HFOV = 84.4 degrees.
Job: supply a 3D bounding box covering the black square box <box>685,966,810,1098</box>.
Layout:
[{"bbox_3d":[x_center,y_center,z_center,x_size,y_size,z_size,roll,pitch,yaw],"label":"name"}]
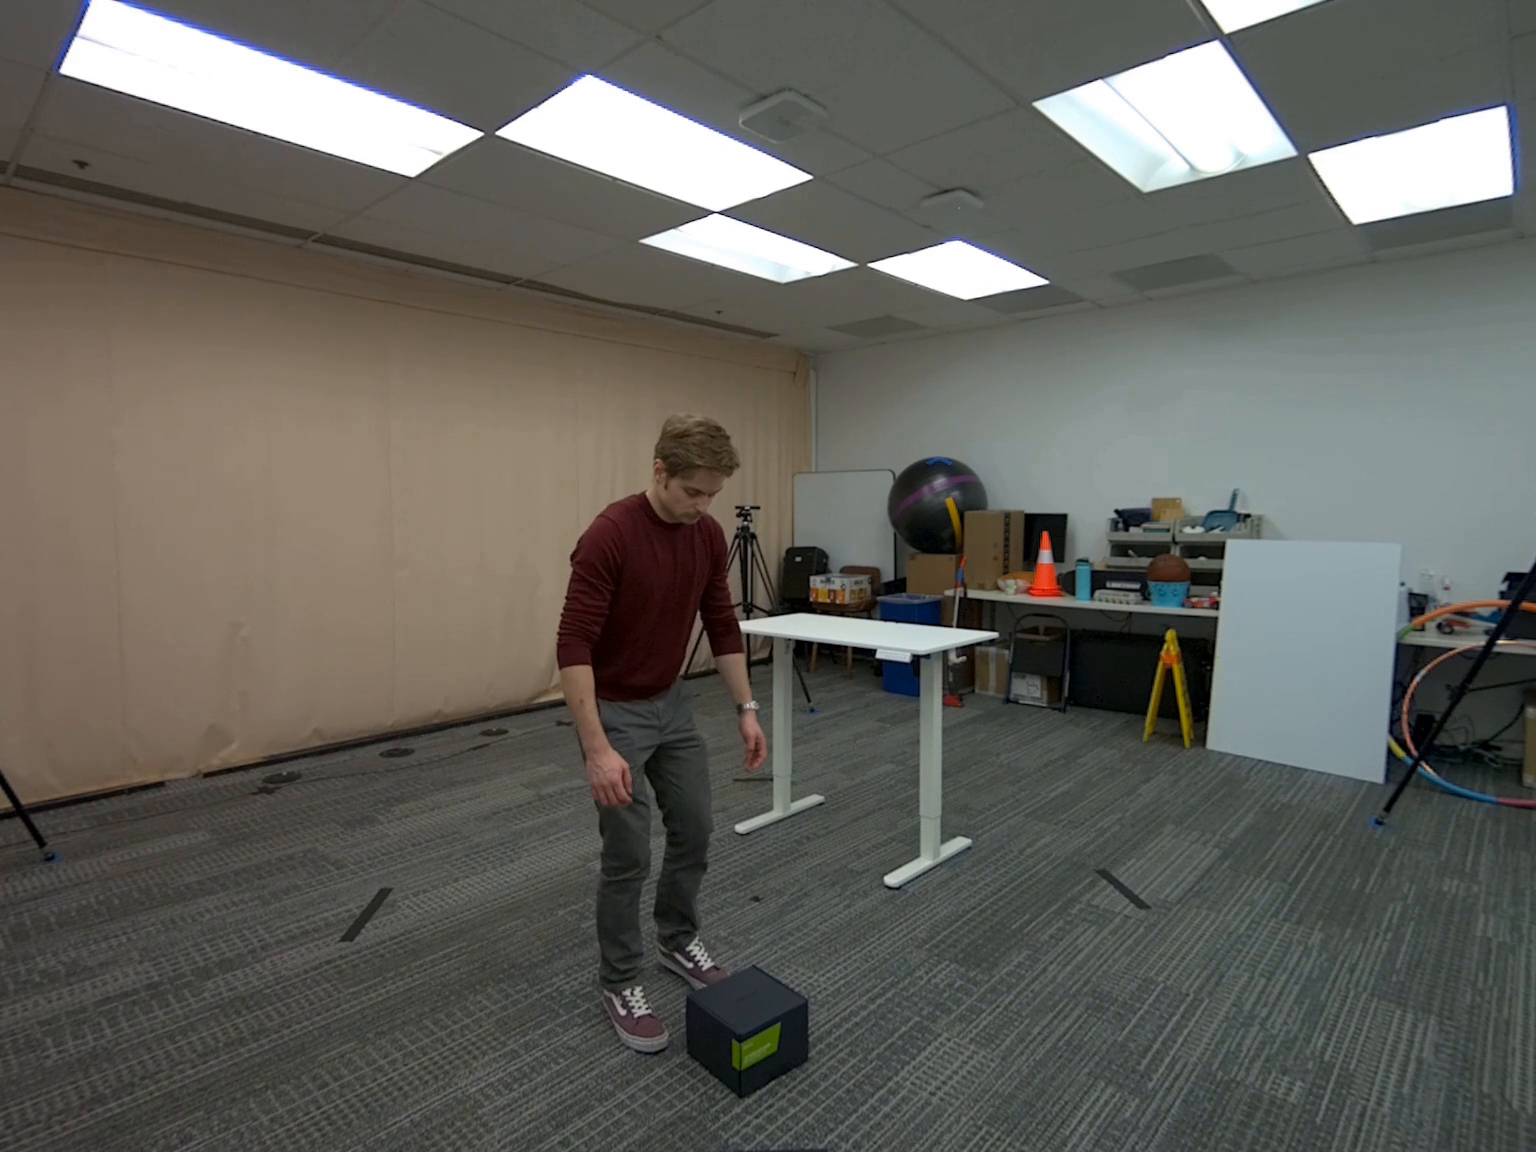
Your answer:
[{"bbox_3d":[-0.047,1.135,2.119,0.221,0.155,0.224,-3,6,-41],"label":"black square box"}]
